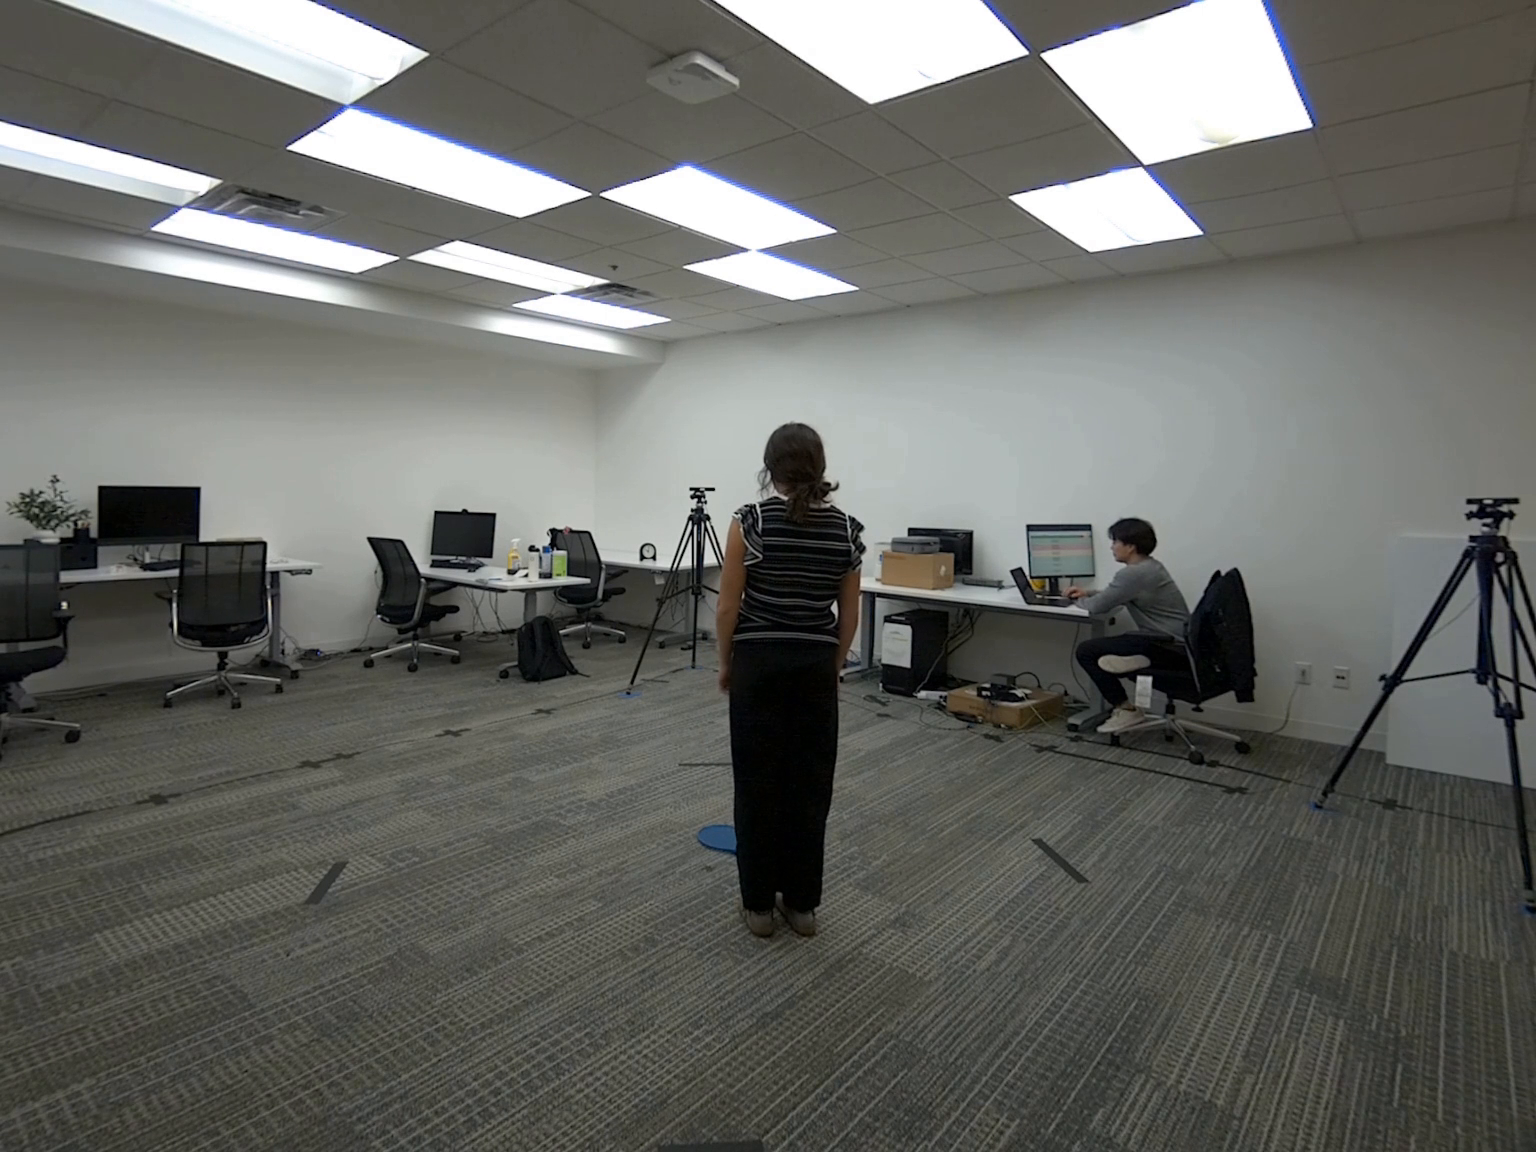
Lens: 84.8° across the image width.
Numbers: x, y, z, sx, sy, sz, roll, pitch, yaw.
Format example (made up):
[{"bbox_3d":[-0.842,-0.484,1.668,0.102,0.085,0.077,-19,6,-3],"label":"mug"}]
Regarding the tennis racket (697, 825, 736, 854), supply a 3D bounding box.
[{"bbox_3d":[-0.141,1.033,3.292,0.208,0.031,0.445,-3,6,-27],"label":"tennis racket"}]
